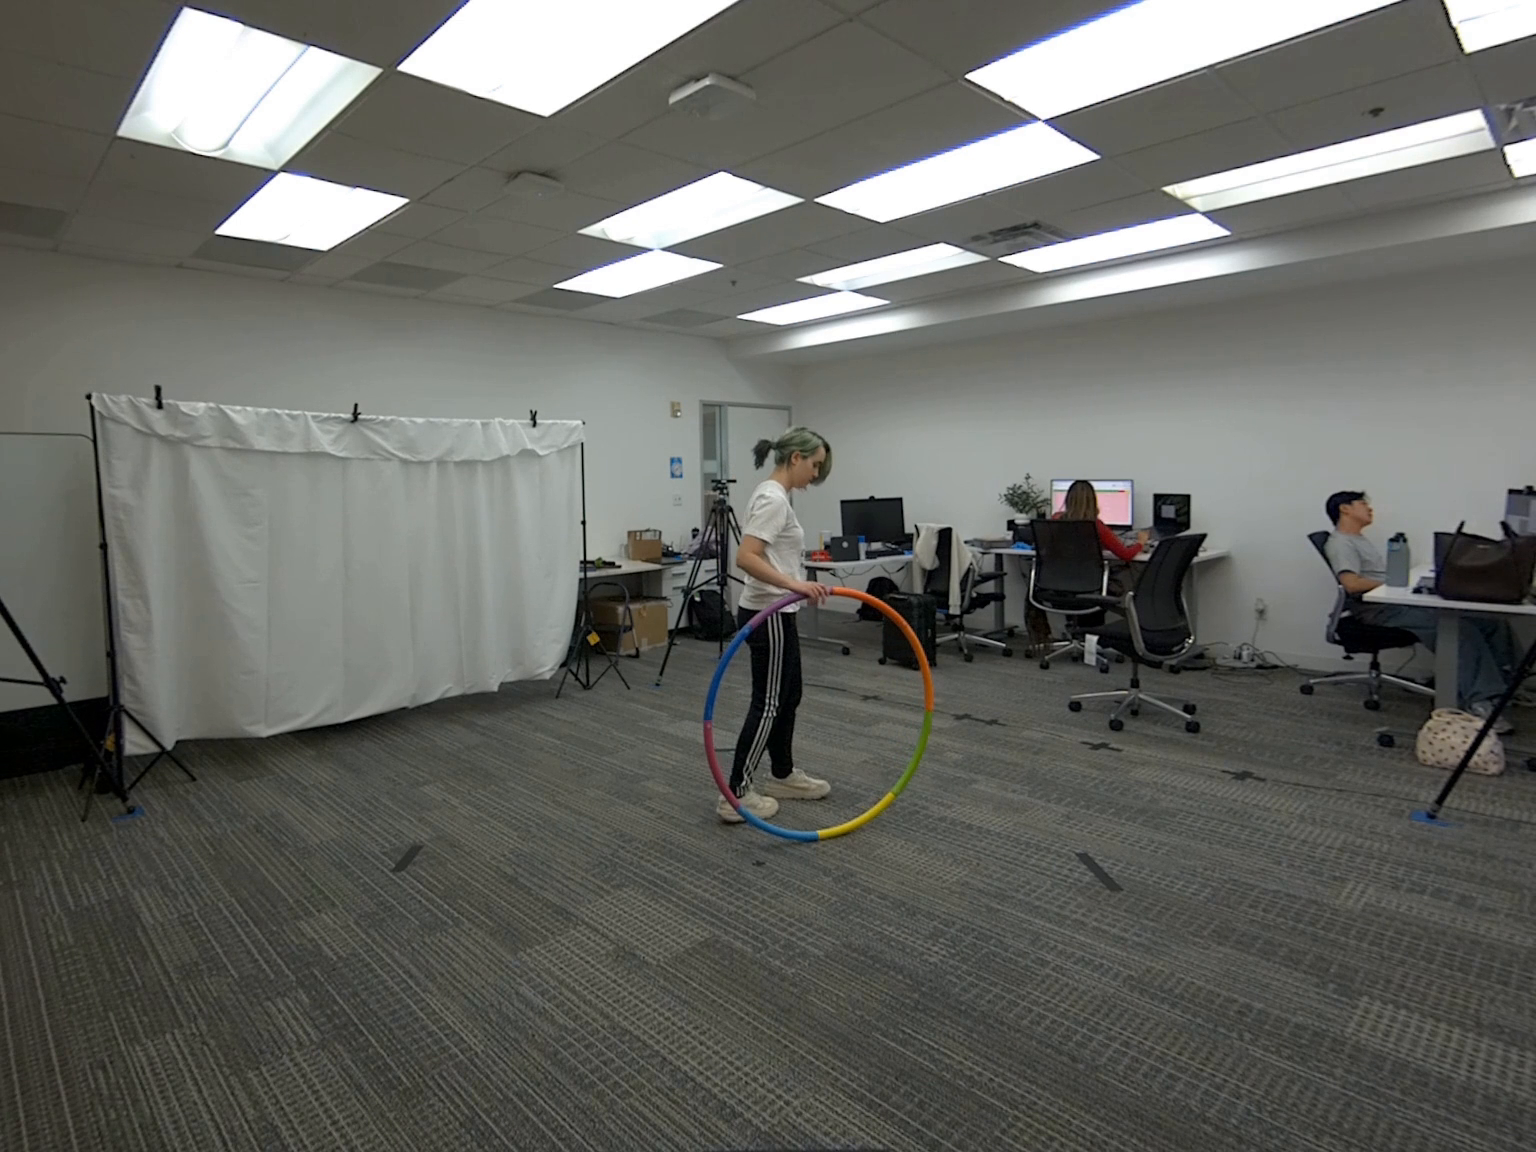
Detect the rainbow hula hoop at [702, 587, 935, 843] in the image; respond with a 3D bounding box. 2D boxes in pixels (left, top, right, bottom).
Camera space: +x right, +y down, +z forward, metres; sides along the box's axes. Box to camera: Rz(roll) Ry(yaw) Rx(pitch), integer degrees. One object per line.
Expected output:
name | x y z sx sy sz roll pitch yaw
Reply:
rainbow hula hoop | 0.213 0.532 3.302 0.960 0.976 0.036 -3 2 -21
